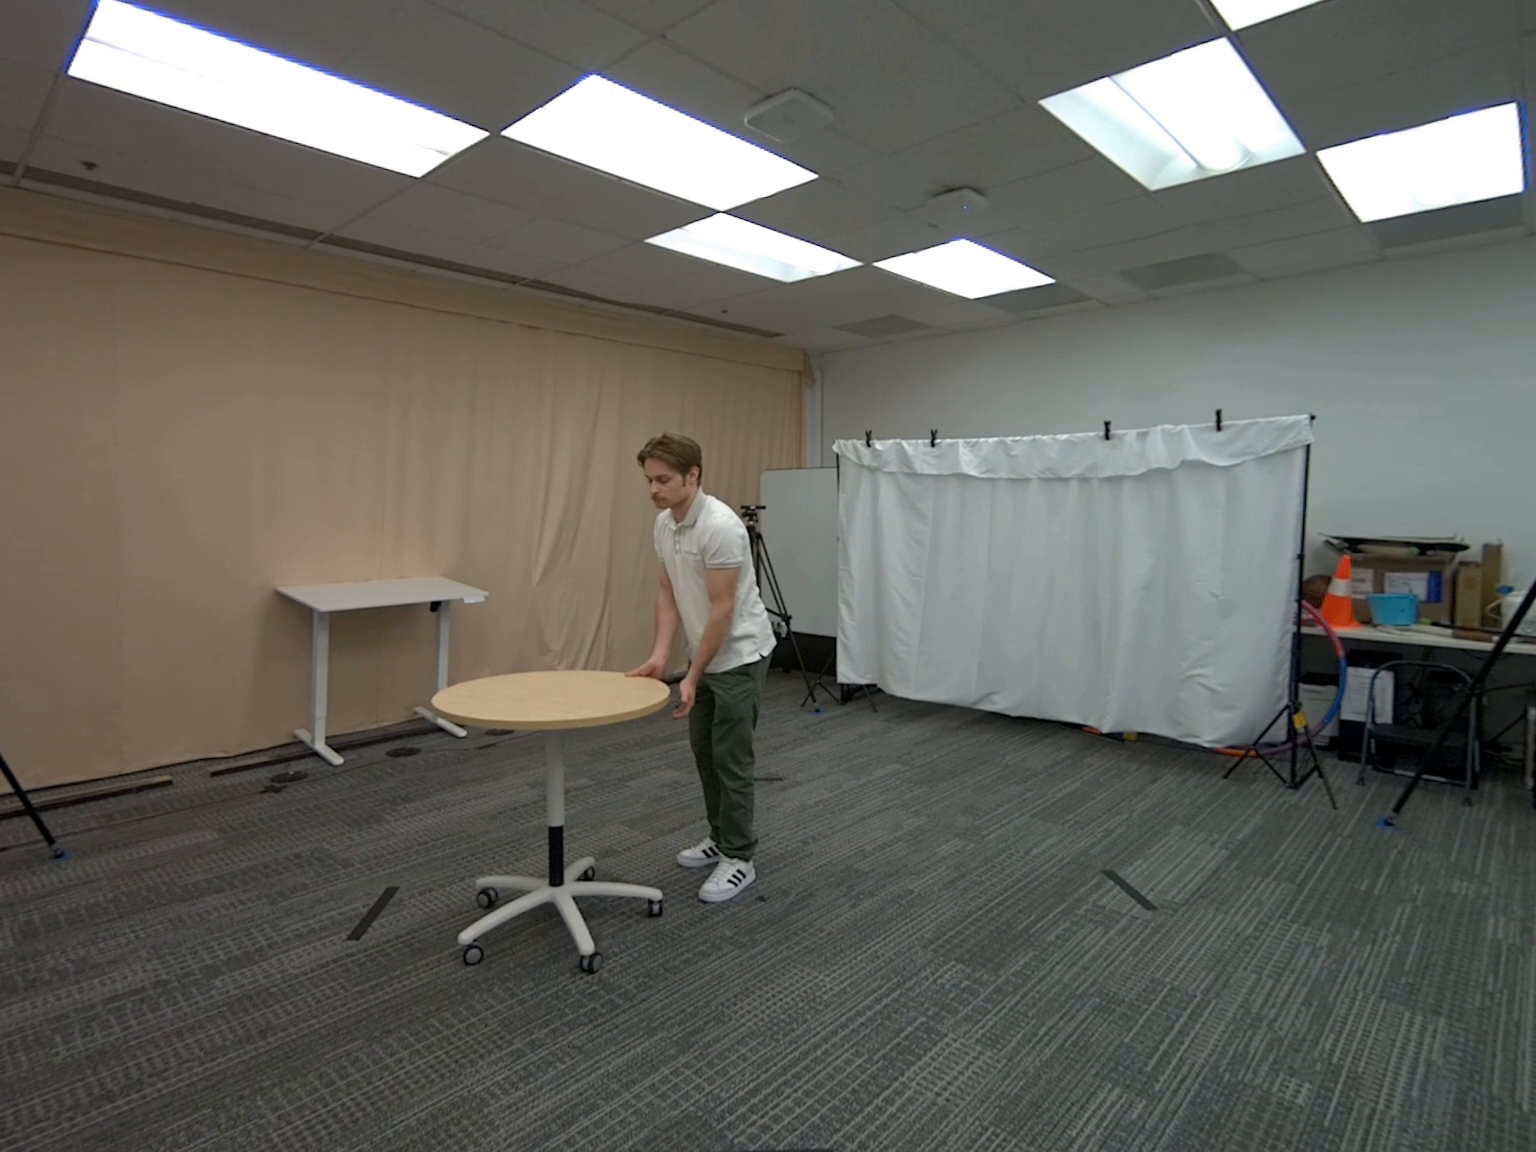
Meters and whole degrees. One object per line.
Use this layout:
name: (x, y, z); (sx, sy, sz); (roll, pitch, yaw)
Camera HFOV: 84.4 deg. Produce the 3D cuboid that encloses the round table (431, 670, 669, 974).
round table: (-0.704, 0.776, 2.790); (0.763, 0.792, 0.766); (0, 3, -2)
